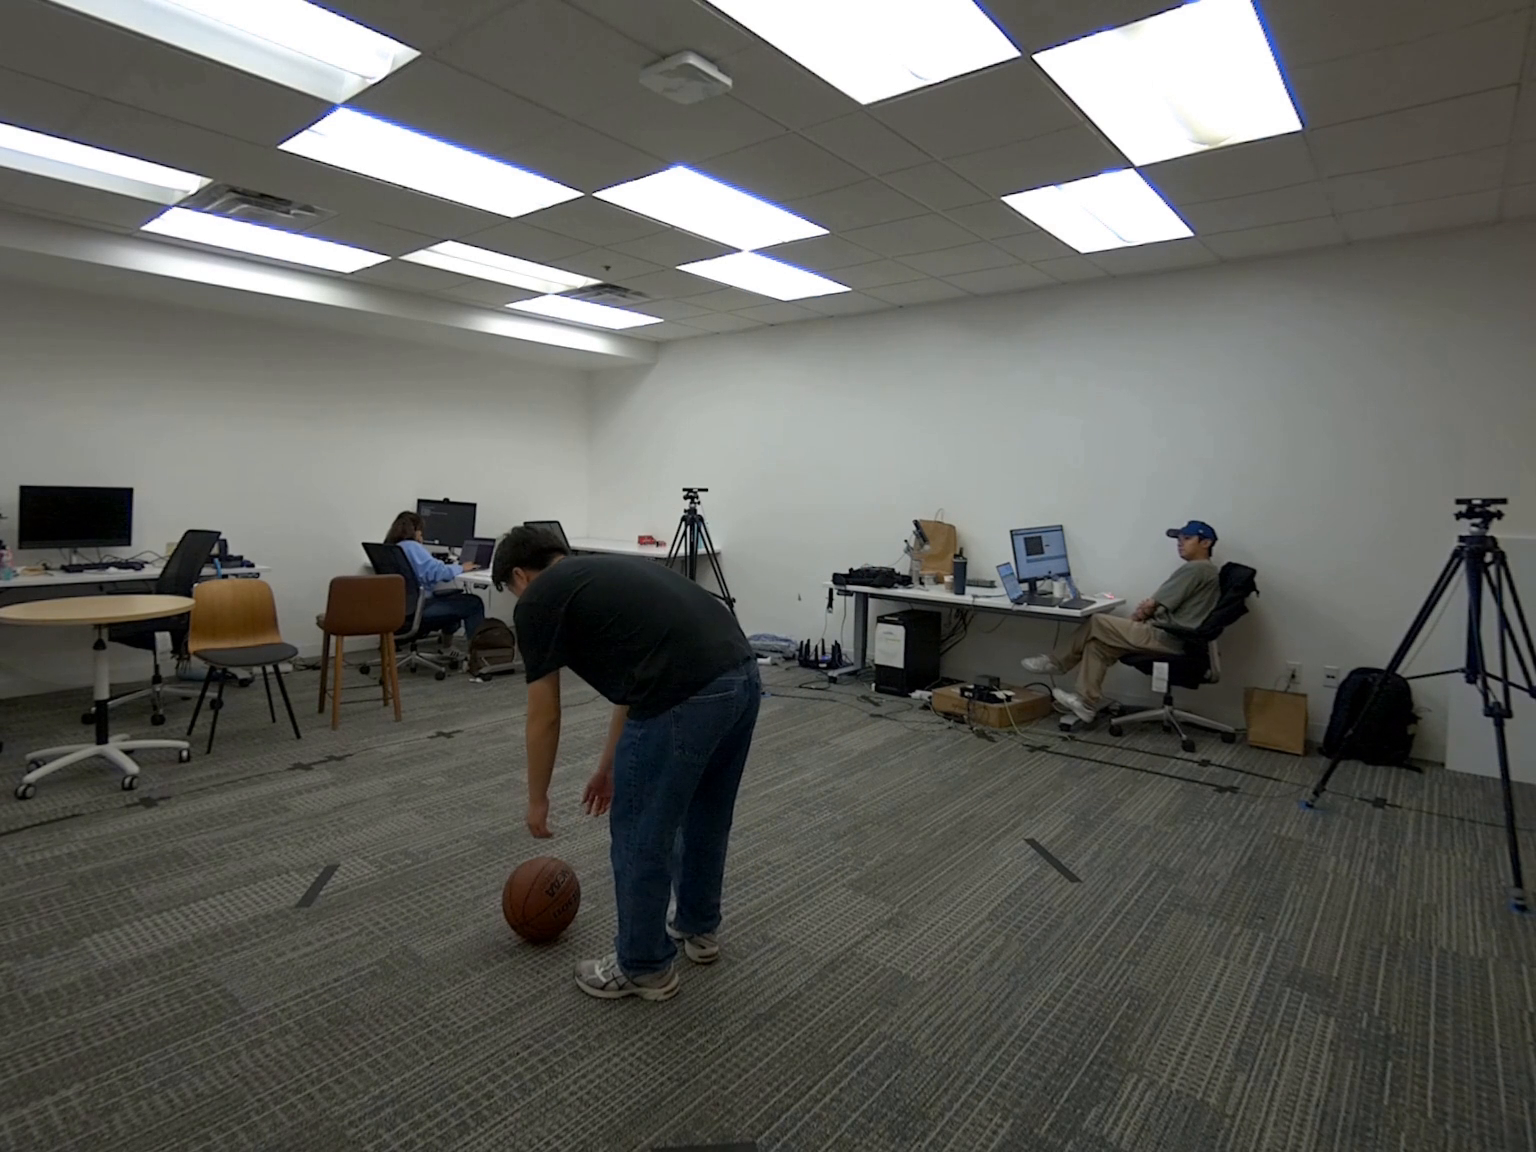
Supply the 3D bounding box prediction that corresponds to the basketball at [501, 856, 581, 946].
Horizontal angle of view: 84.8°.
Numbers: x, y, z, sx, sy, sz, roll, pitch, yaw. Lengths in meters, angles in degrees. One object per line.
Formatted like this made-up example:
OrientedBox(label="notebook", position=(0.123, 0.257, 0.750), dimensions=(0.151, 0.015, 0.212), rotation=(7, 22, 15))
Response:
OrientedBox(label="basketball", position=(-0.705, 0.991, 2.623), dimensions=(0.236, 0.235, 0.237), rotation=(1, 4, -2))
